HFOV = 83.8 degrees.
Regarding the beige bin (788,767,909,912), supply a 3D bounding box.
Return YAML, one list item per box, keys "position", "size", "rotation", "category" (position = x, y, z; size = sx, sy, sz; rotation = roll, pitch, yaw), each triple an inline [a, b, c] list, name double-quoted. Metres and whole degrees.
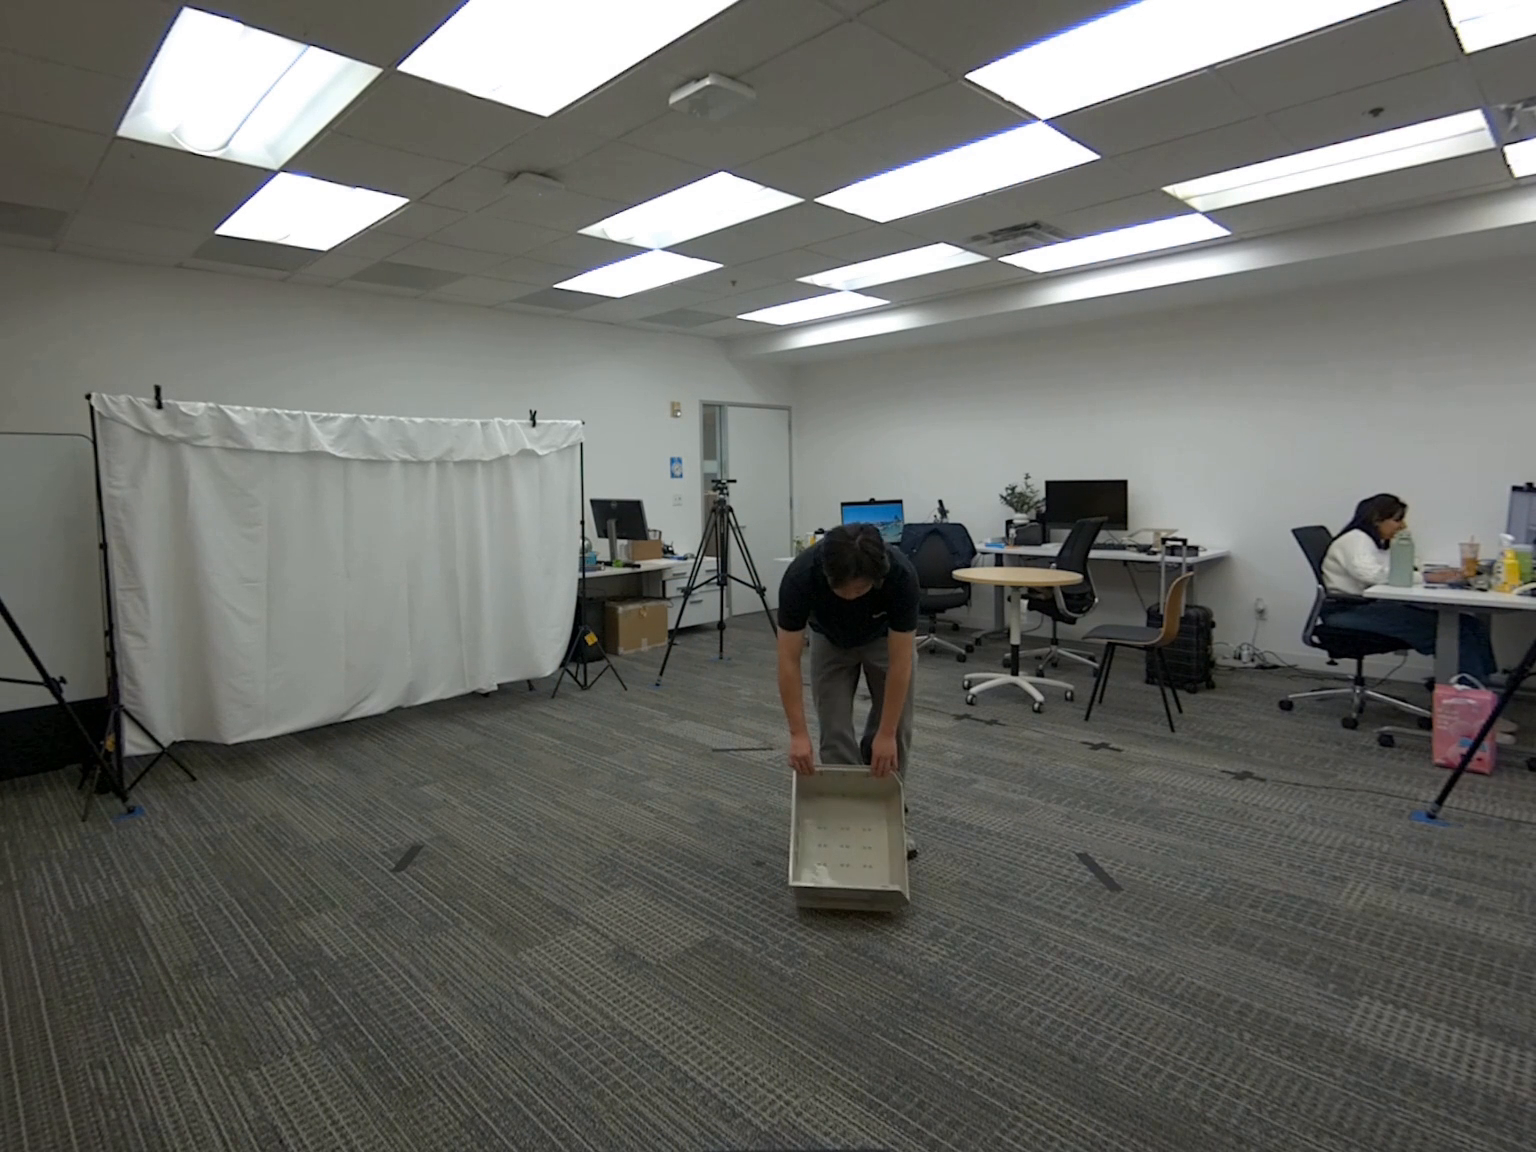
- position: [0.278, 0.866, 2.847]
  size: [0.380, 0.183, 0.432]
  rotation: [-2, 47, 7]
  category: "beige bin"
